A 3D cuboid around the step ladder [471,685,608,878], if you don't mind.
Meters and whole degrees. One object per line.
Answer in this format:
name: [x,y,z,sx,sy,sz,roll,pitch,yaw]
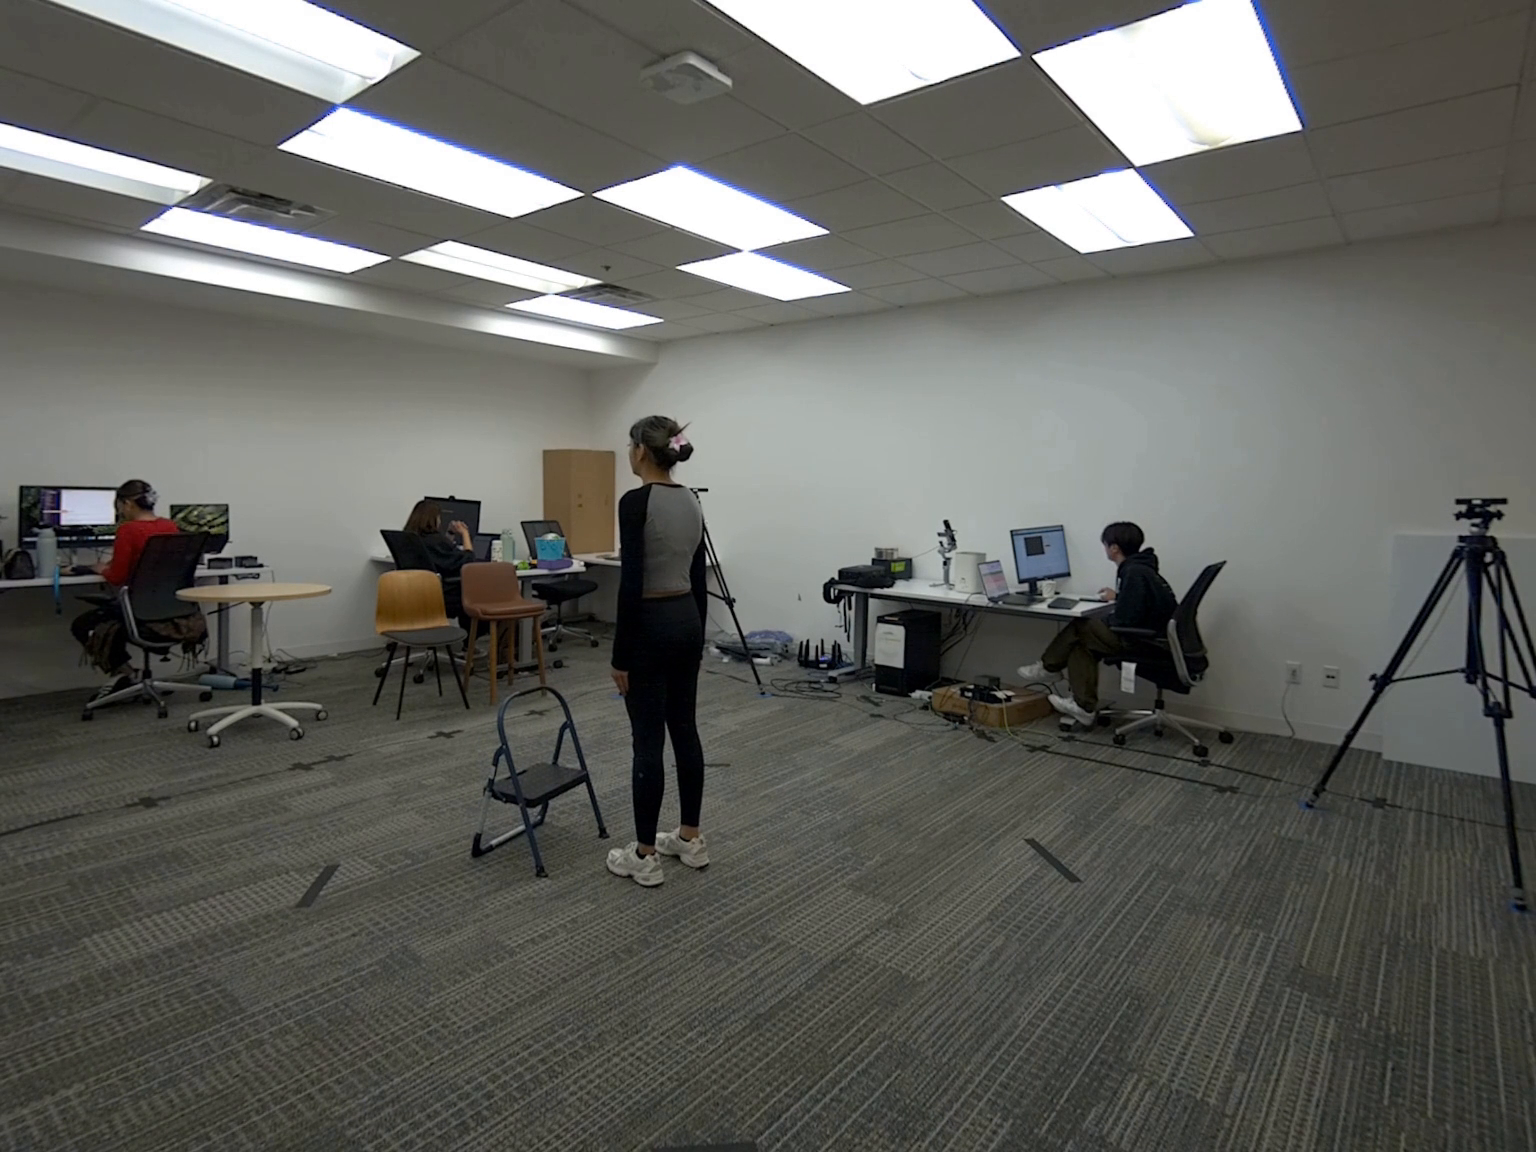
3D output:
step ladder: [-0.877,0.741,3.269,0.358,0.605,0.421,2,3,24]
